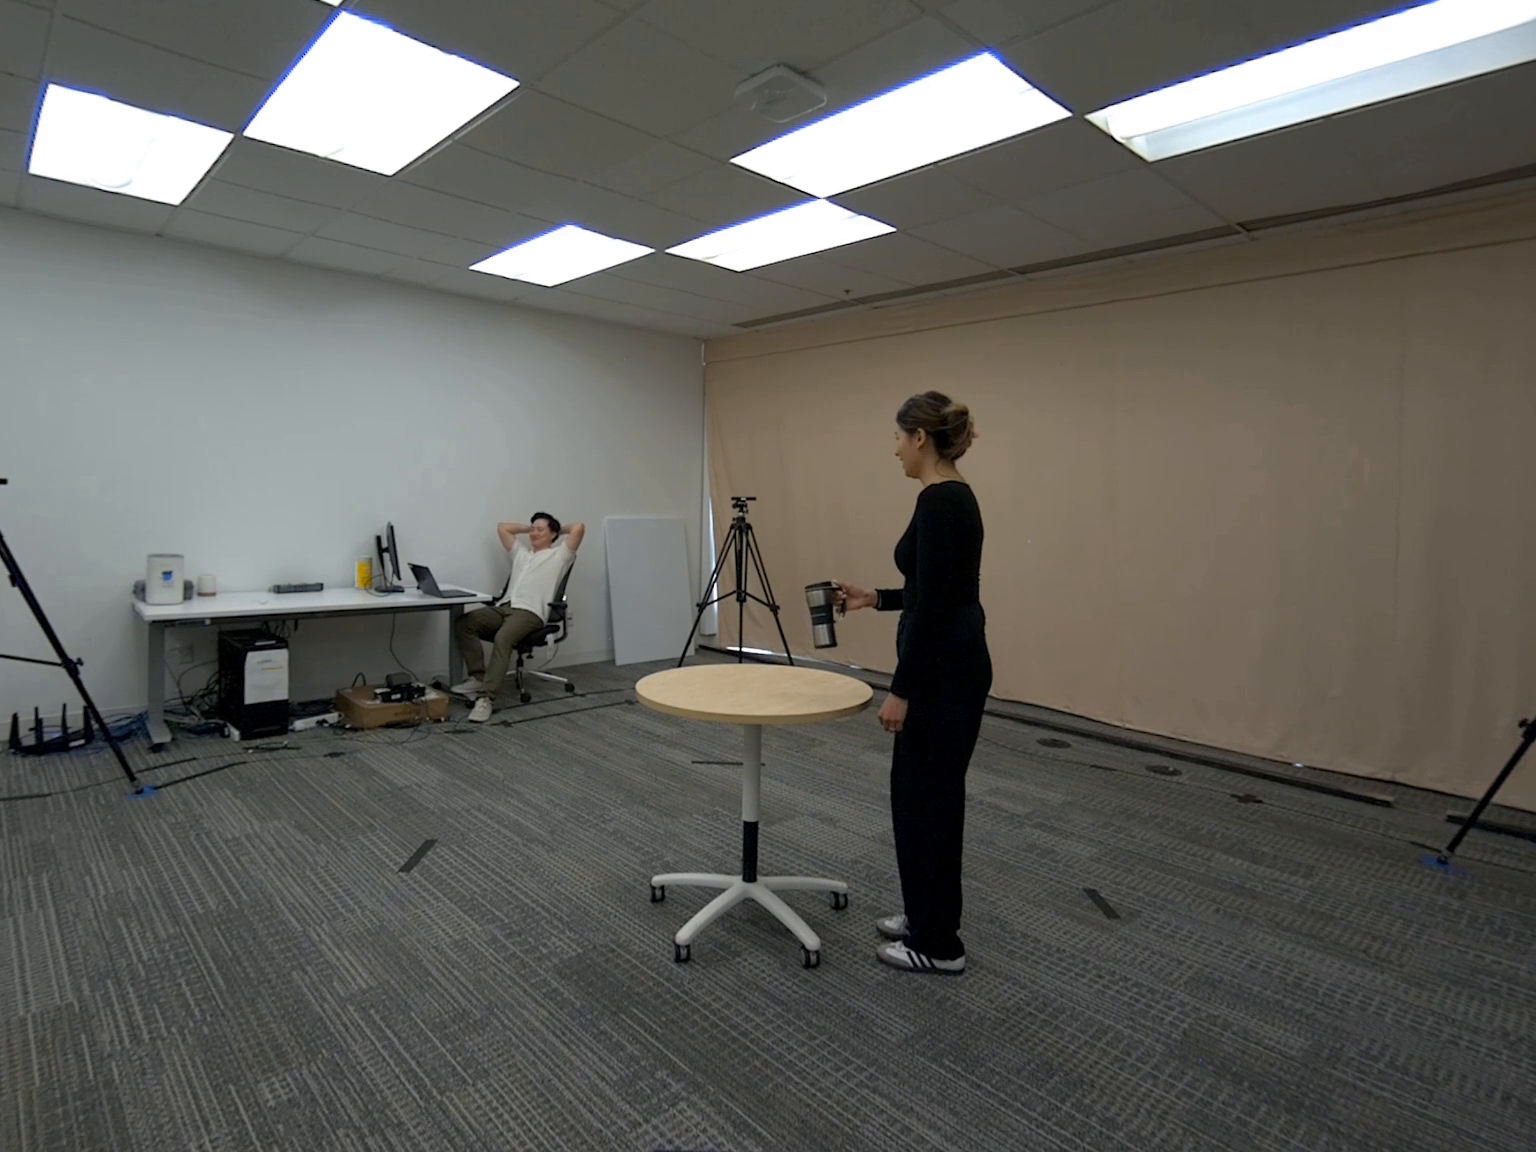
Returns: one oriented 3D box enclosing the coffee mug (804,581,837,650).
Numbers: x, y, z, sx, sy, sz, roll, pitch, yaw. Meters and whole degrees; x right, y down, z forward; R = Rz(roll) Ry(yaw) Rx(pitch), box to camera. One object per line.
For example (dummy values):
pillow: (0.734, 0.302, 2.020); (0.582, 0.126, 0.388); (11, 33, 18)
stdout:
coffee mug: (0.171, 0.122, 2.617); (0.086, 0.204, 0.124); (0, -9, -39)
